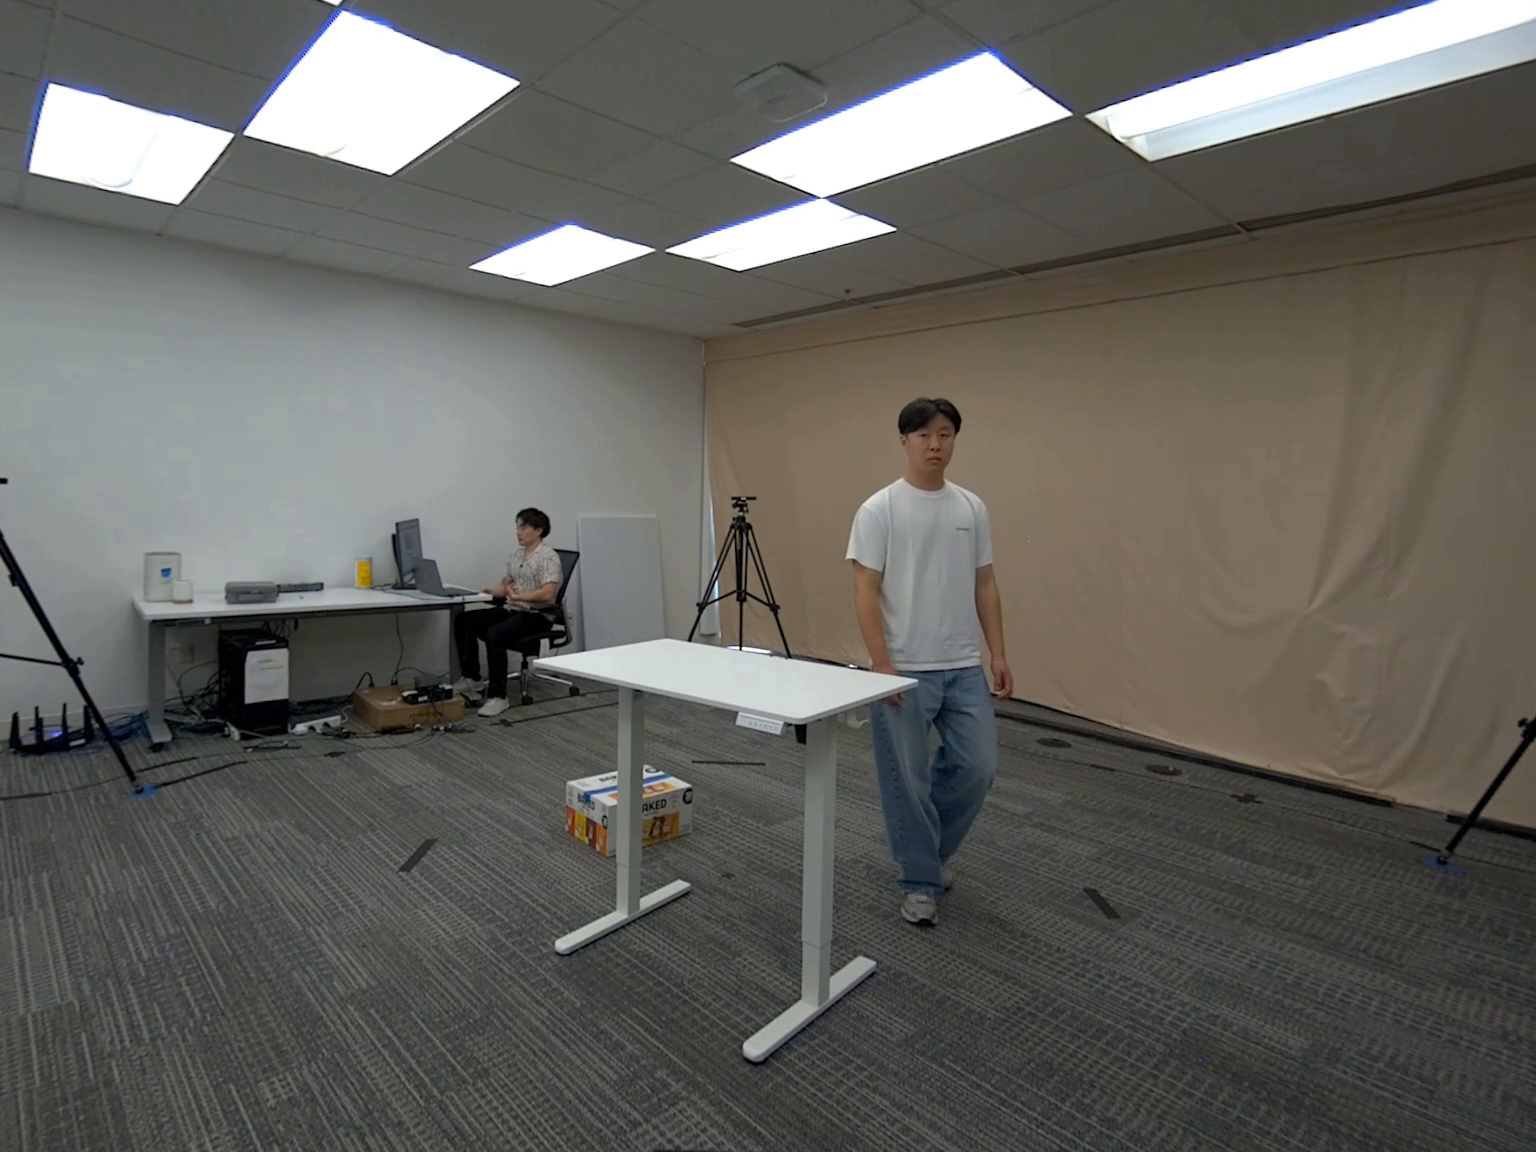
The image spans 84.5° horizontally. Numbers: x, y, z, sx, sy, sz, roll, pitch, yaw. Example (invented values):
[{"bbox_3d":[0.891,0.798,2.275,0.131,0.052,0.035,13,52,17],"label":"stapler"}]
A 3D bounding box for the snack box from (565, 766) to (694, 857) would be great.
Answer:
[{"bbox_3d":[-0.583,0.961,3.481,0.396,0.205,0.349,-2,6,-41],"label":"snack box"}]
